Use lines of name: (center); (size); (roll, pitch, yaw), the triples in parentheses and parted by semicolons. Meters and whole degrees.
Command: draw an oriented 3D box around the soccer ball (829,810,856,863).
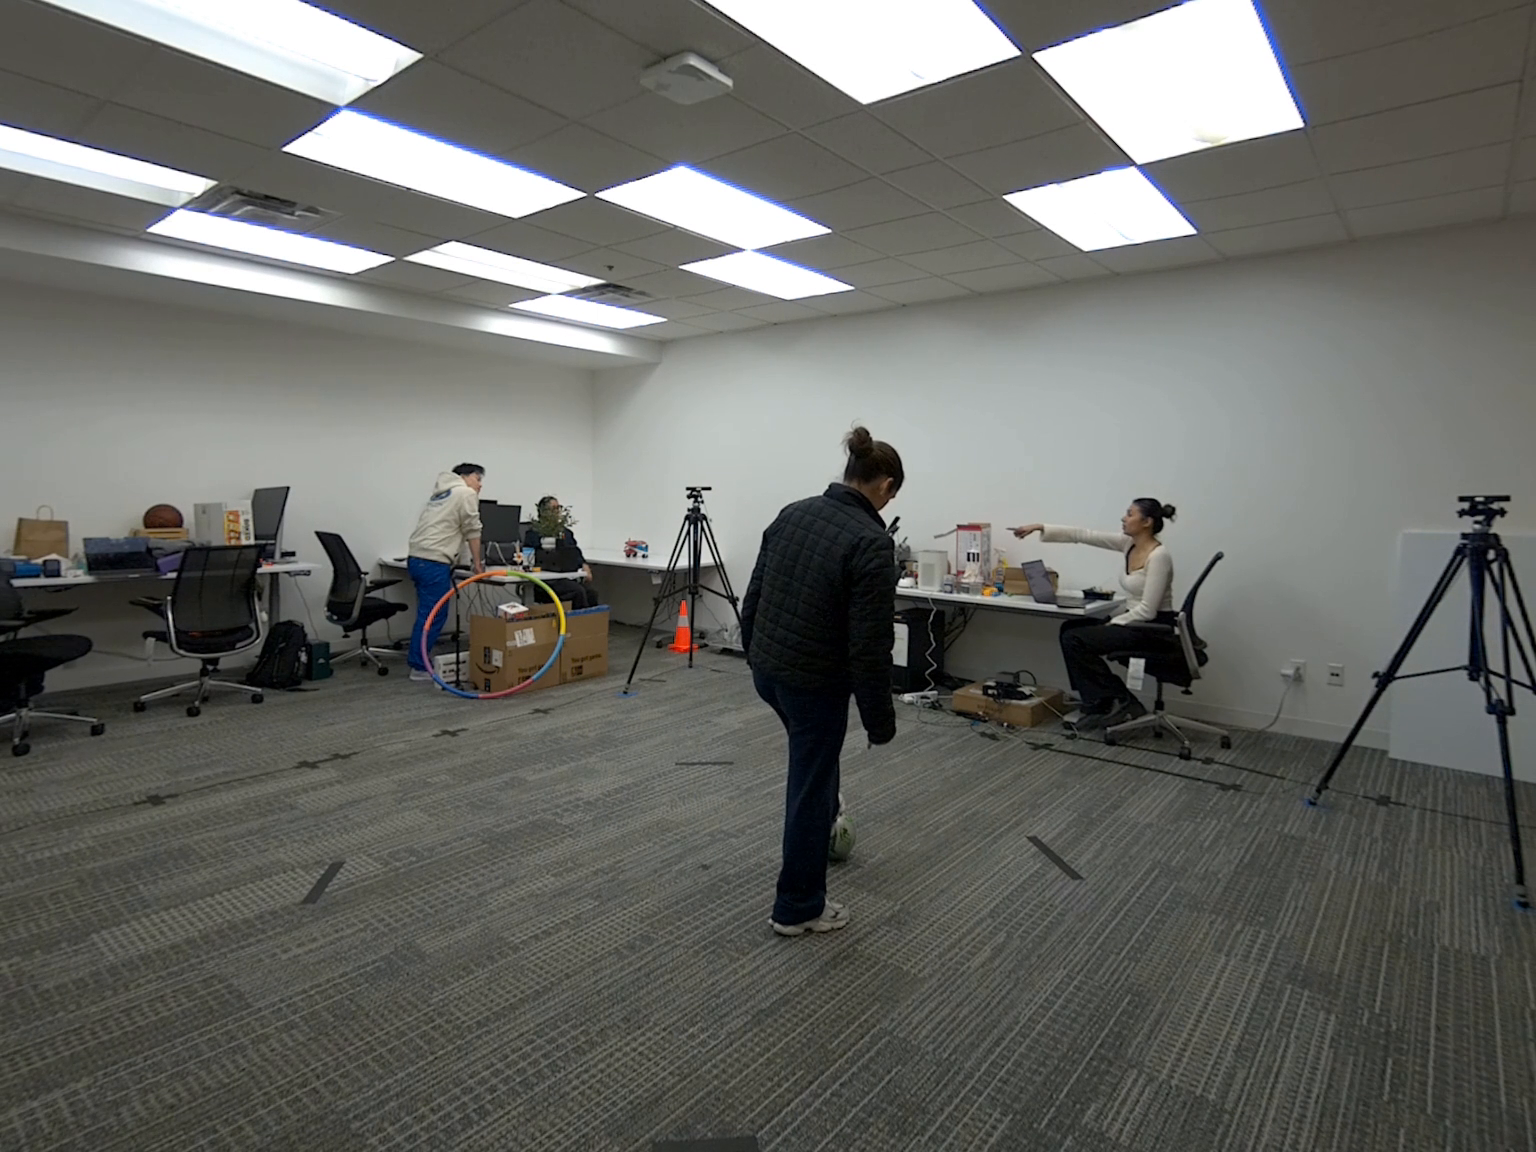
soccer ball: (0.233, 0.973, 3.216); (0.187, 0.187, 0.188); (1, 4, -2)
